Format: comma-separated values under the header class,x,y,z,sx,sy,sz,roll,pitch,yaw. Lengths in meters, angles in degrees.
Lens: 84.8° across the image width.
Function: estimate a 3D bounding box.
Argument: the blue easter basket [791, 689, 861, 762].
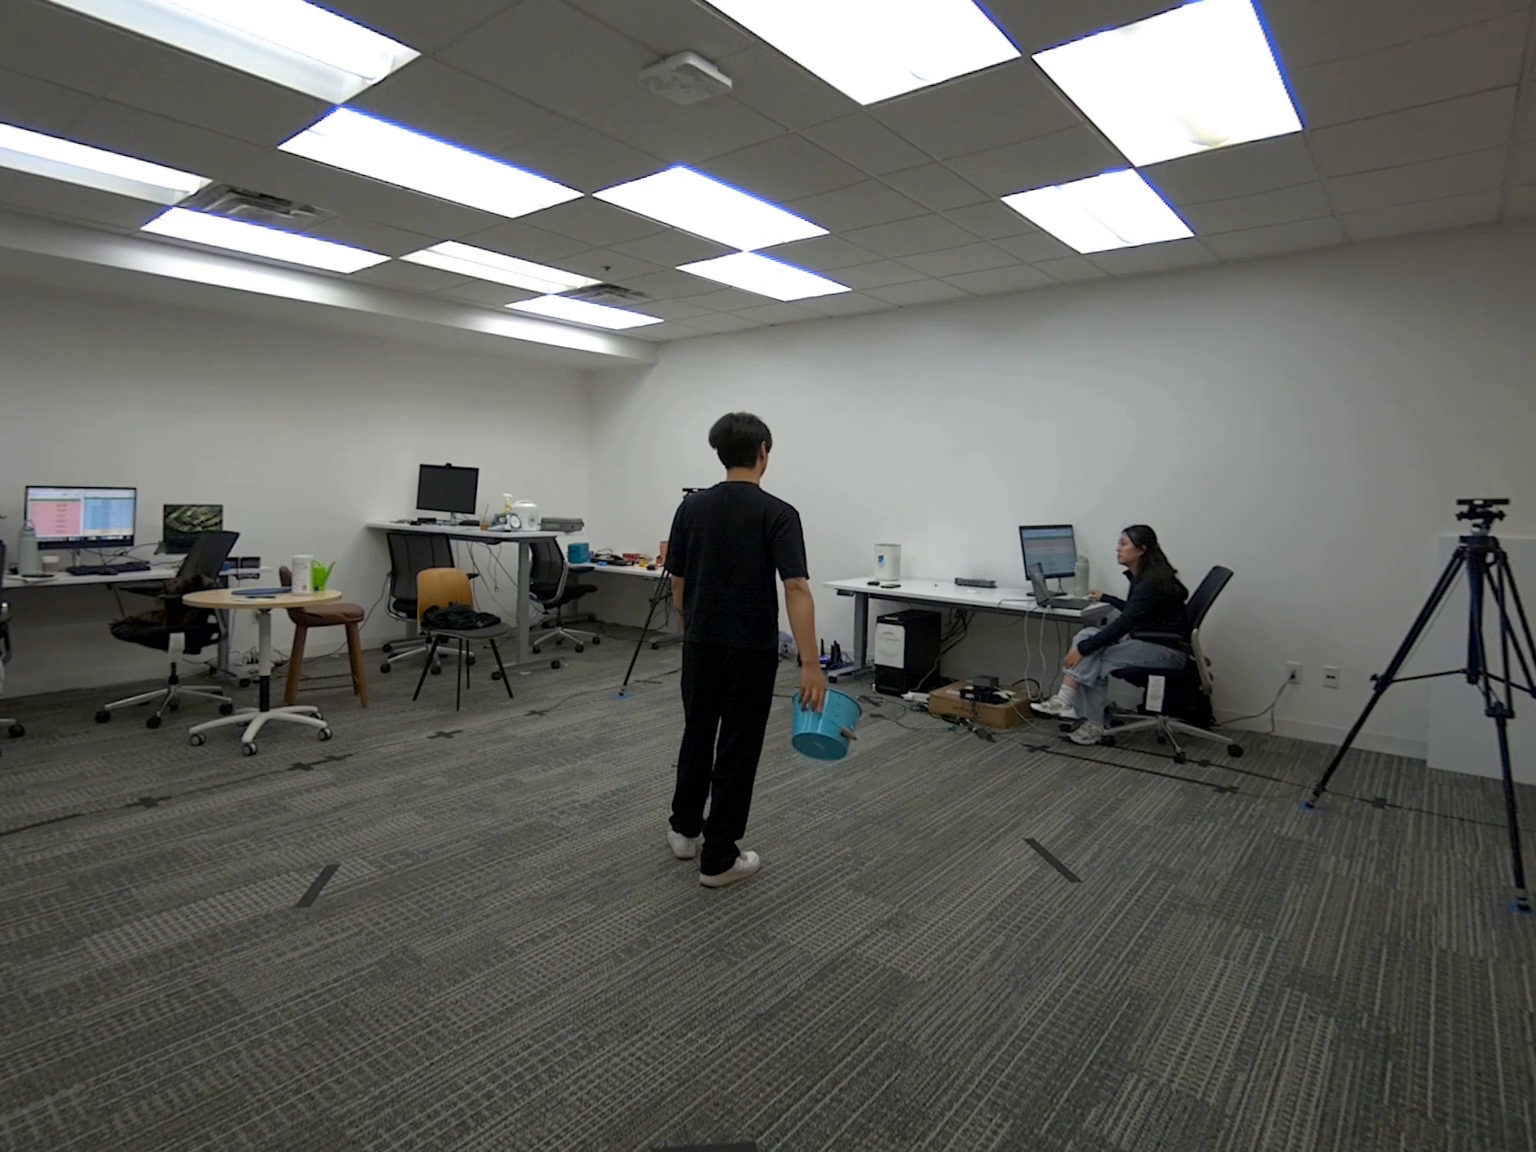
class,x,y,z,sx,sy,sz,roll,pitch,yaw
blue easter basket,0.175,0.484,2.791,0.246,0.158,0.237,12,-38,8
